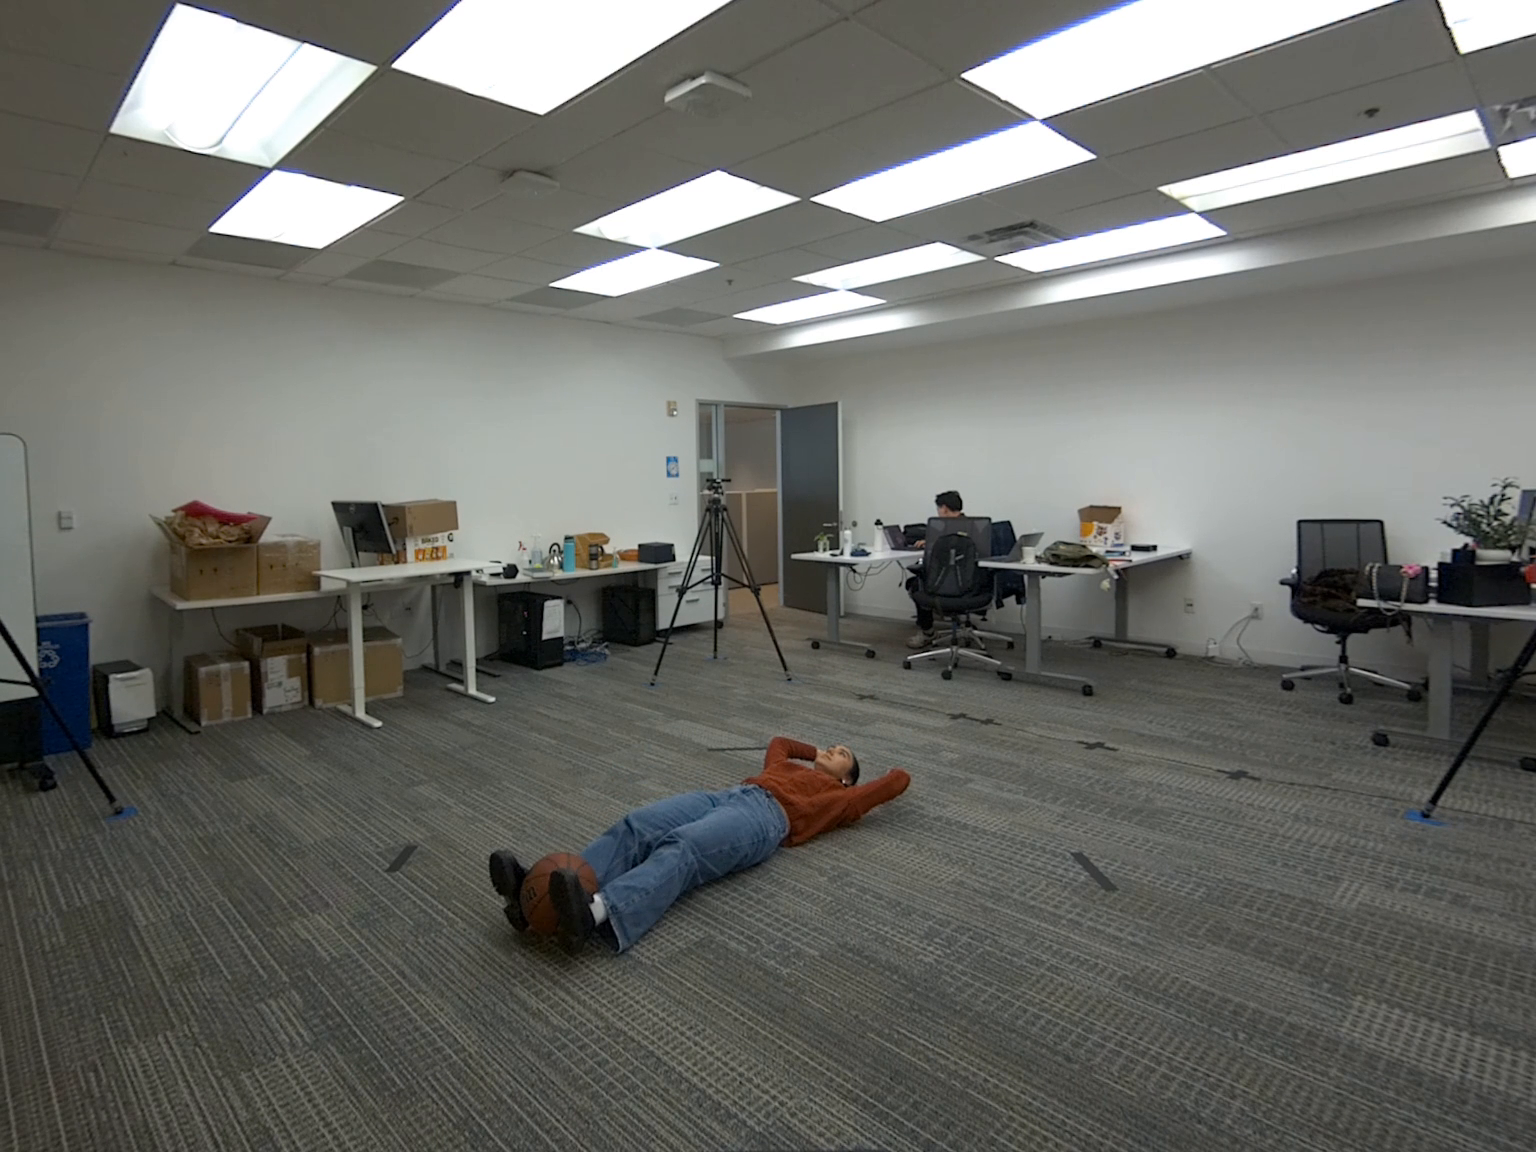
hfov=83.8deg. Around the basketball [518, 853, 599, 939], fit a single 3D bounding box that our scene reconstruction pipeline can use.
[{"bbox_3d":[-0.628,0.967,2.591,0.236,0.236,0.236,0,1,-2],"label":"basketball"}]
